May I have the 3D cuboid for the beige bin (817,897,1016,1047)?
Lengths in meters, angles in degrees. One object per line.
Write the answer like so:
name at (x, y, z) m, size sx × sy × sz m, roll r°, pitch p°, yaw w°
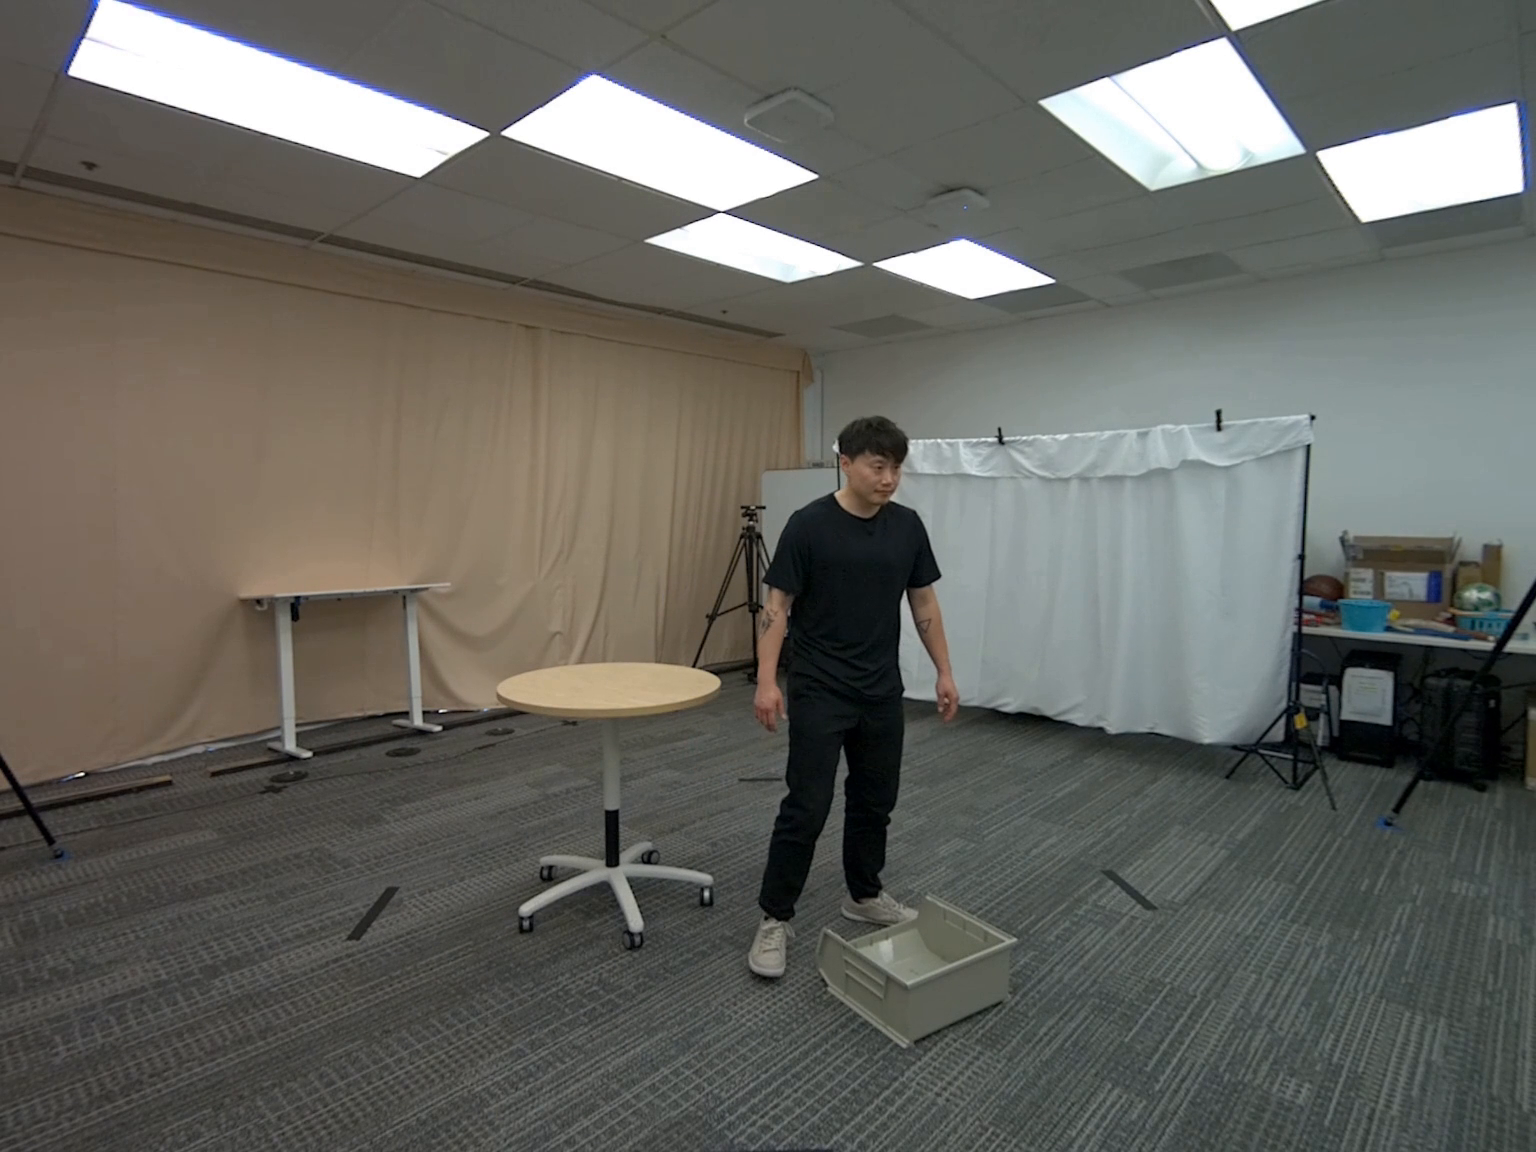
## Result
beige bin at (0.423, 1.099, 2.410) m, size 0.410 × 0.188 × 0.389 m, roll -3°, pitch 6°, yaw -33°
